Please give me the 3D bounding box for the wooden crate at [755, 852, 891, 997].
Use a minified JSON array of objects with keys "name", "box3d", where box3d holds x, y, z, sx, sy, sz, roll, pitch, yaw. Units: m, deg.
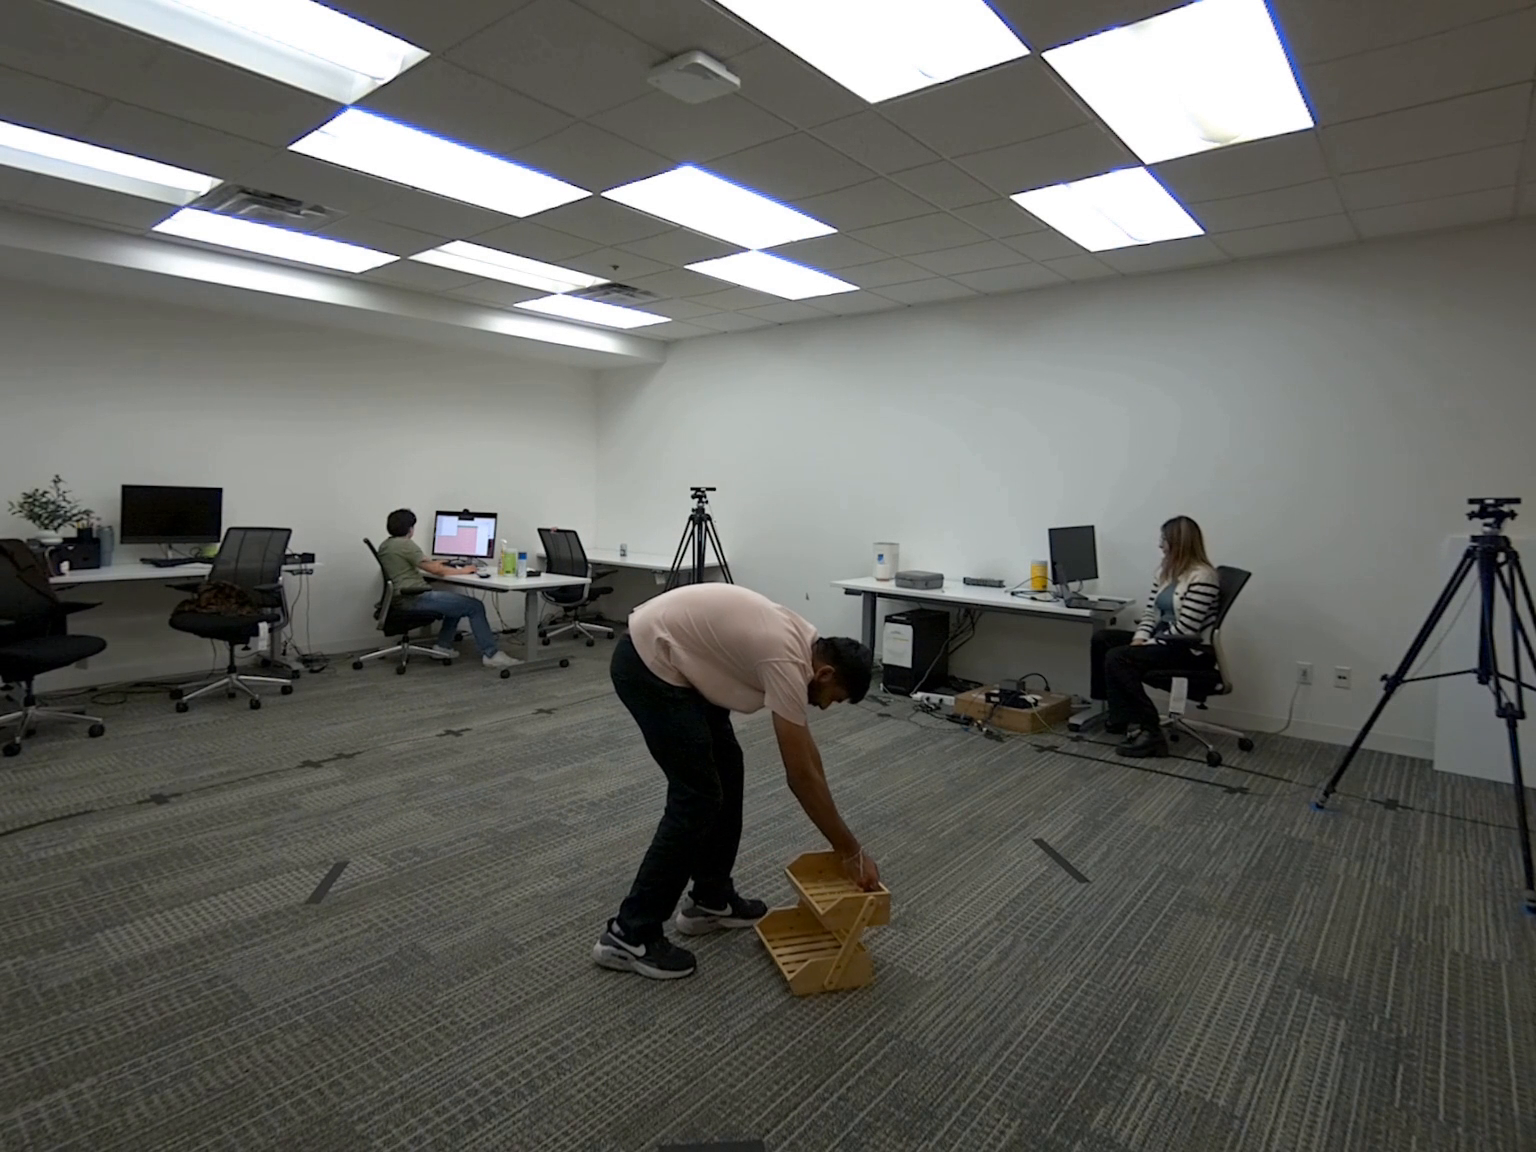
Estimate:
[{"name":"wooden crate","box3d":[0.140,0.999,2.502,0.296,0.272,0.332,0,5,-20]}]
